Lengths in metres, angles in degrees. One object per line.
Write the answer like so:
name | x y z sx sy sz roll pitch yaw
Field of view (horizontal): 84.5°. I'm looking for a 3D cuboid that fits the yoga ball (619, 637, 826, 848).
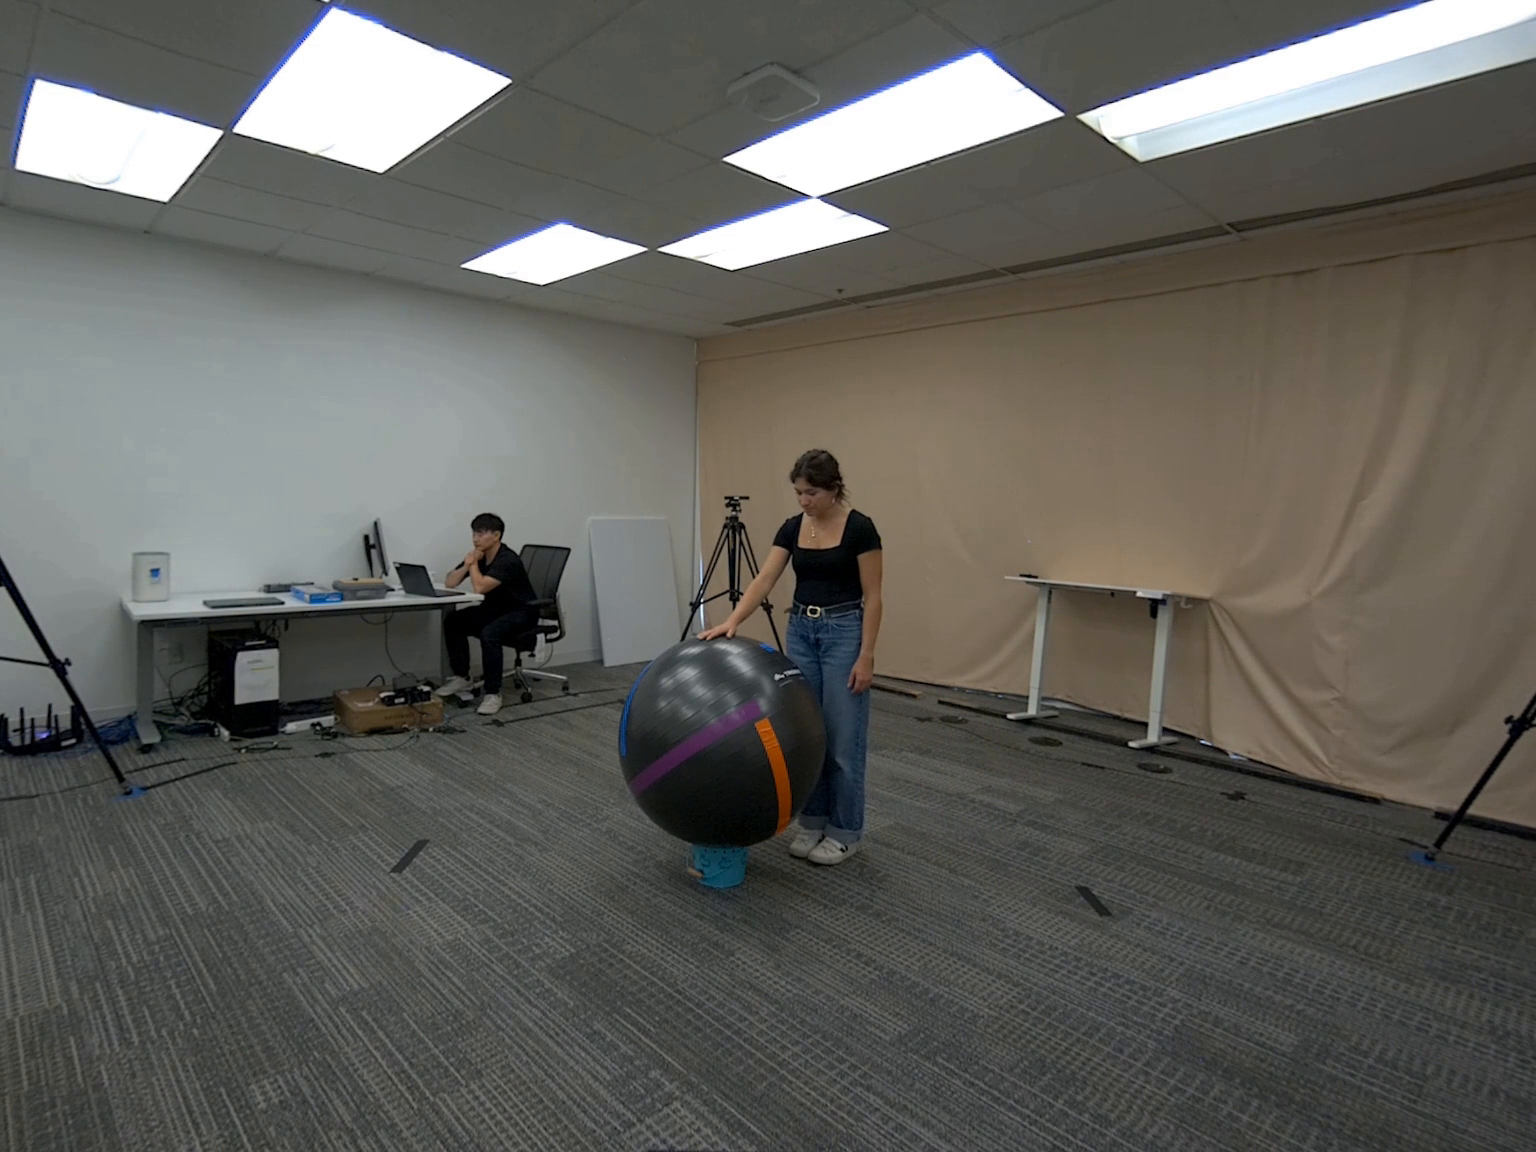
yoga ball | -0.172 0.595 3.068 0.757 0.756 0.761 1 4 -1
